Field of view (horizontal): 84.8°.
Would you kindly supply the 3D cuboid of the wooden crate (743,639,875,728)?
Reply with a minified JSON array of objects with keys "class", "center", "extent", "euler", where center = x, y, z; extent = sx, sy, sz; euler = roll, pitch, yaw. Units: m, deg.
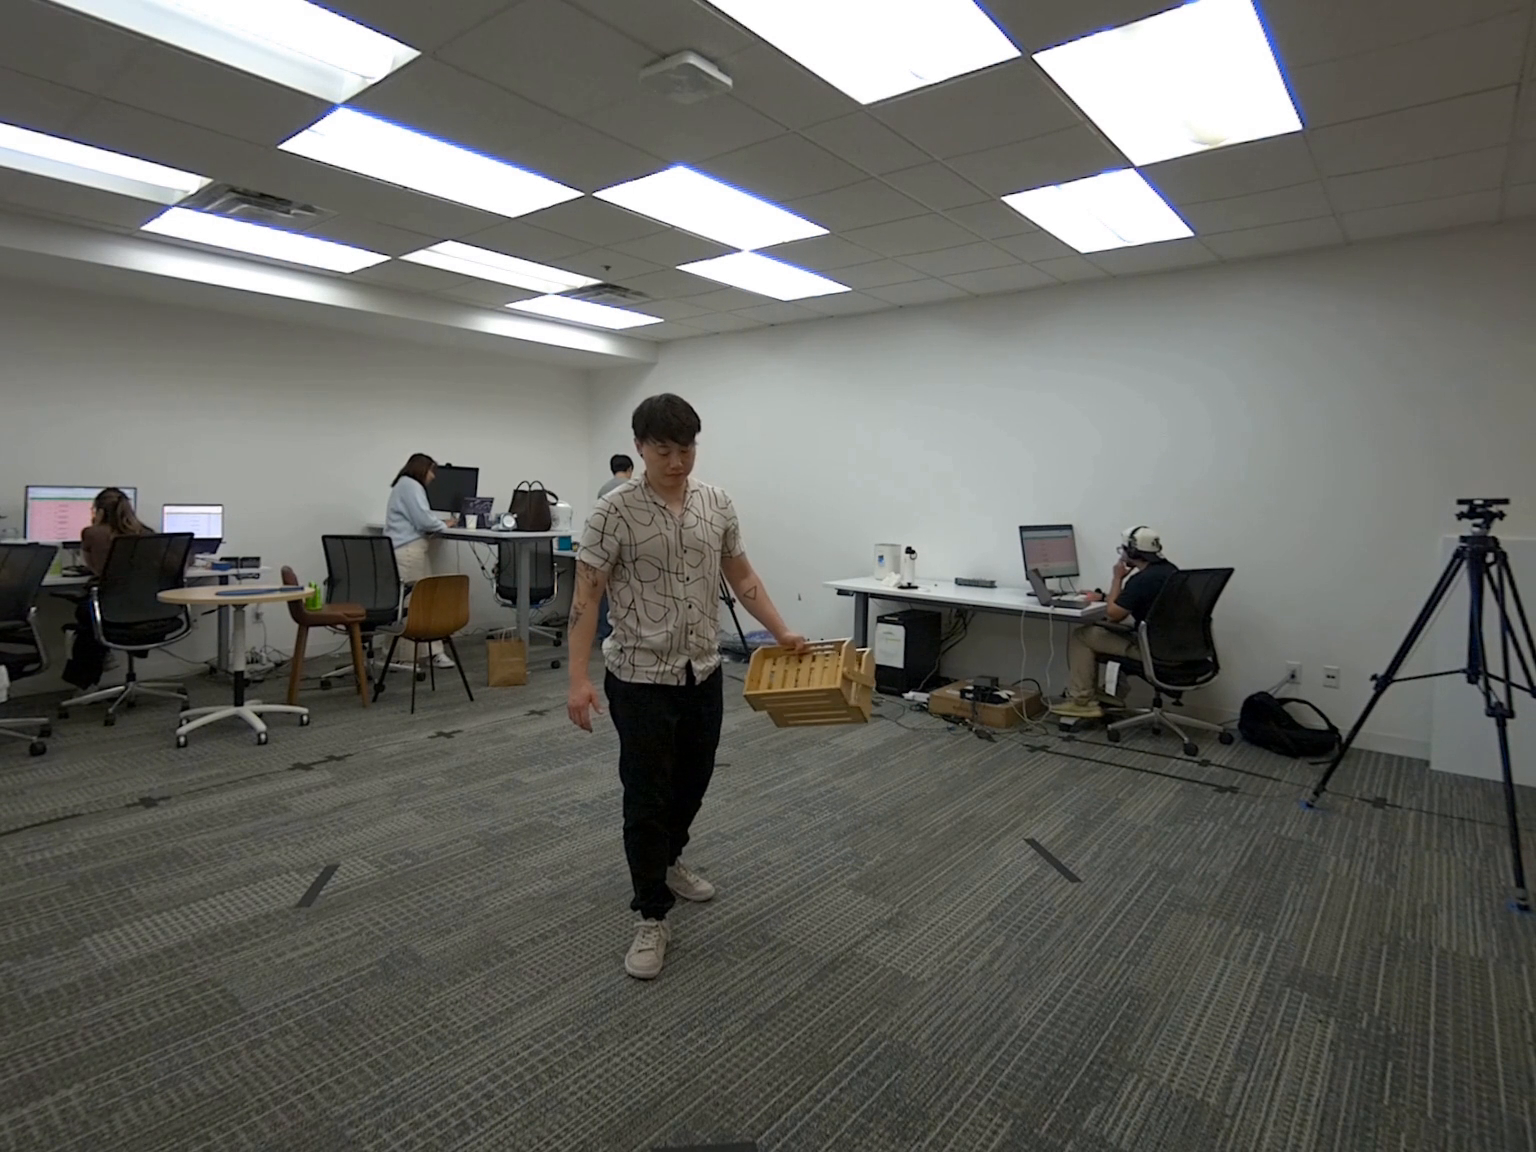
[{"class":"wooden crate","center":[0.124,0.305,2.599],"extent":[0.331,0.308,0.262],"euler":[-9,-47,24]}]
